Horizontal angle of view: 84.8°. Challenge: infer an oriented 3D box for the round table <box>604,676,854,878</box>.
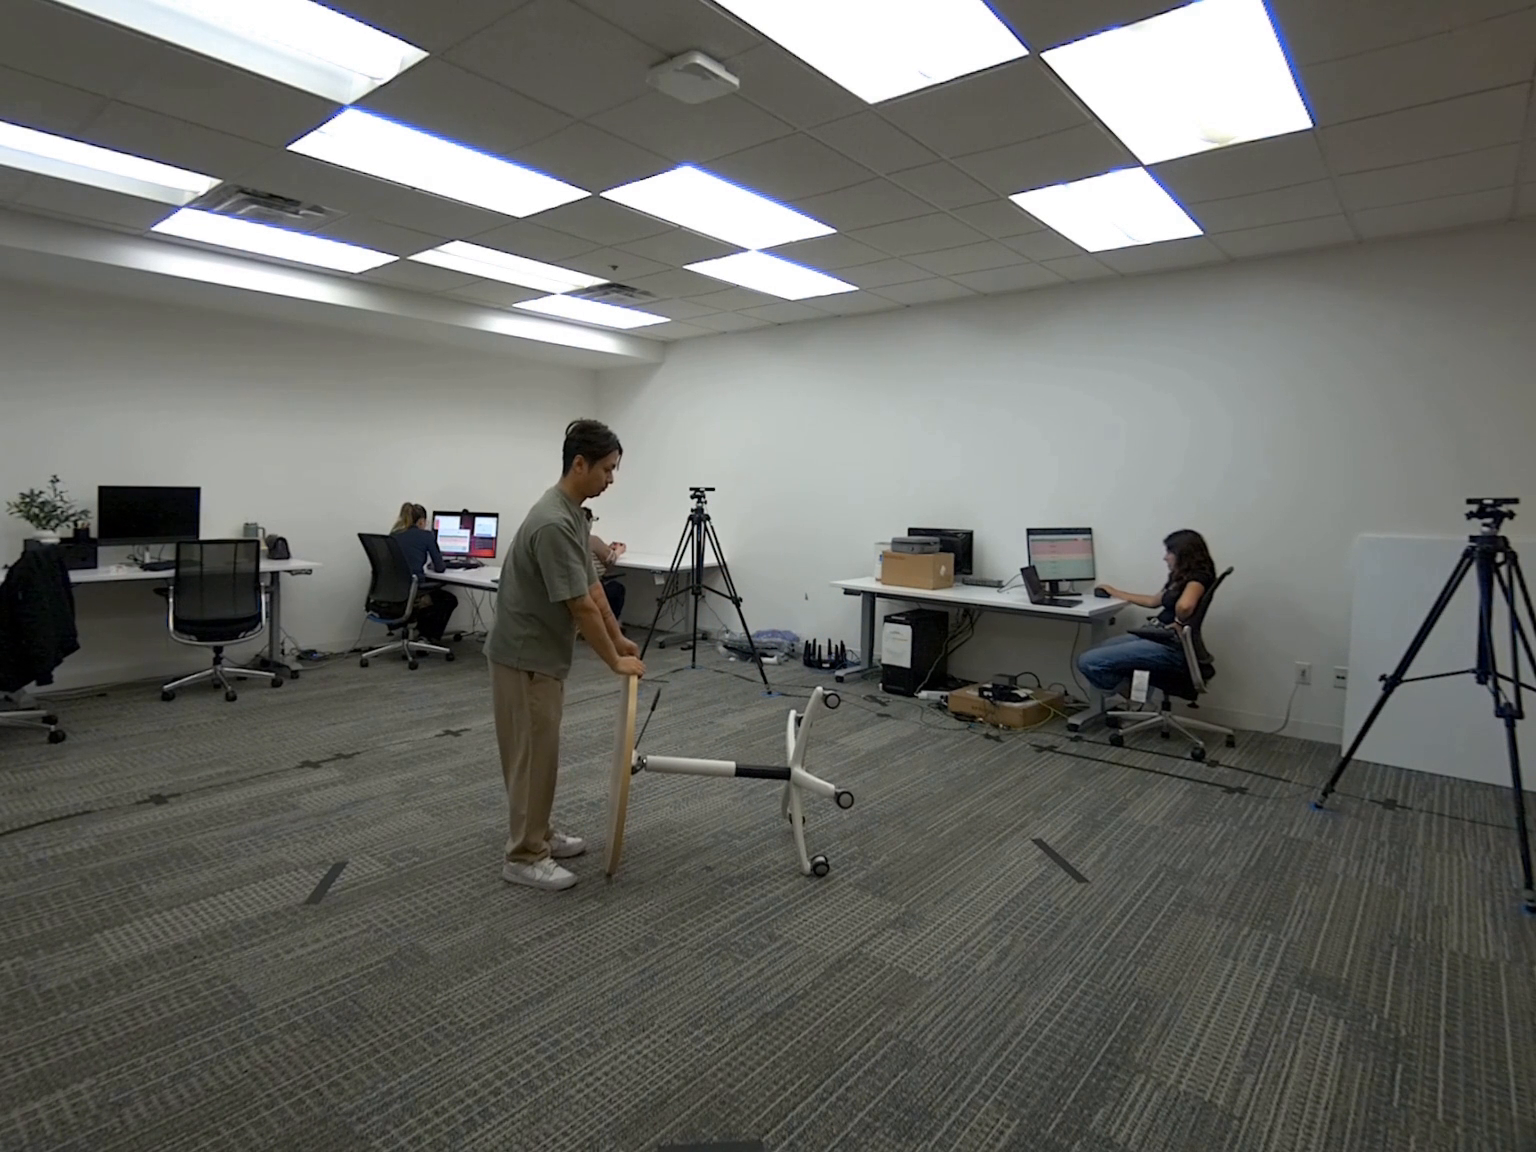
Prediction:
[{"bbox_3d":[-0.178,0.710,3.175,0.777,0.783,0.797,5,3,-11],"label":"round table"}]
